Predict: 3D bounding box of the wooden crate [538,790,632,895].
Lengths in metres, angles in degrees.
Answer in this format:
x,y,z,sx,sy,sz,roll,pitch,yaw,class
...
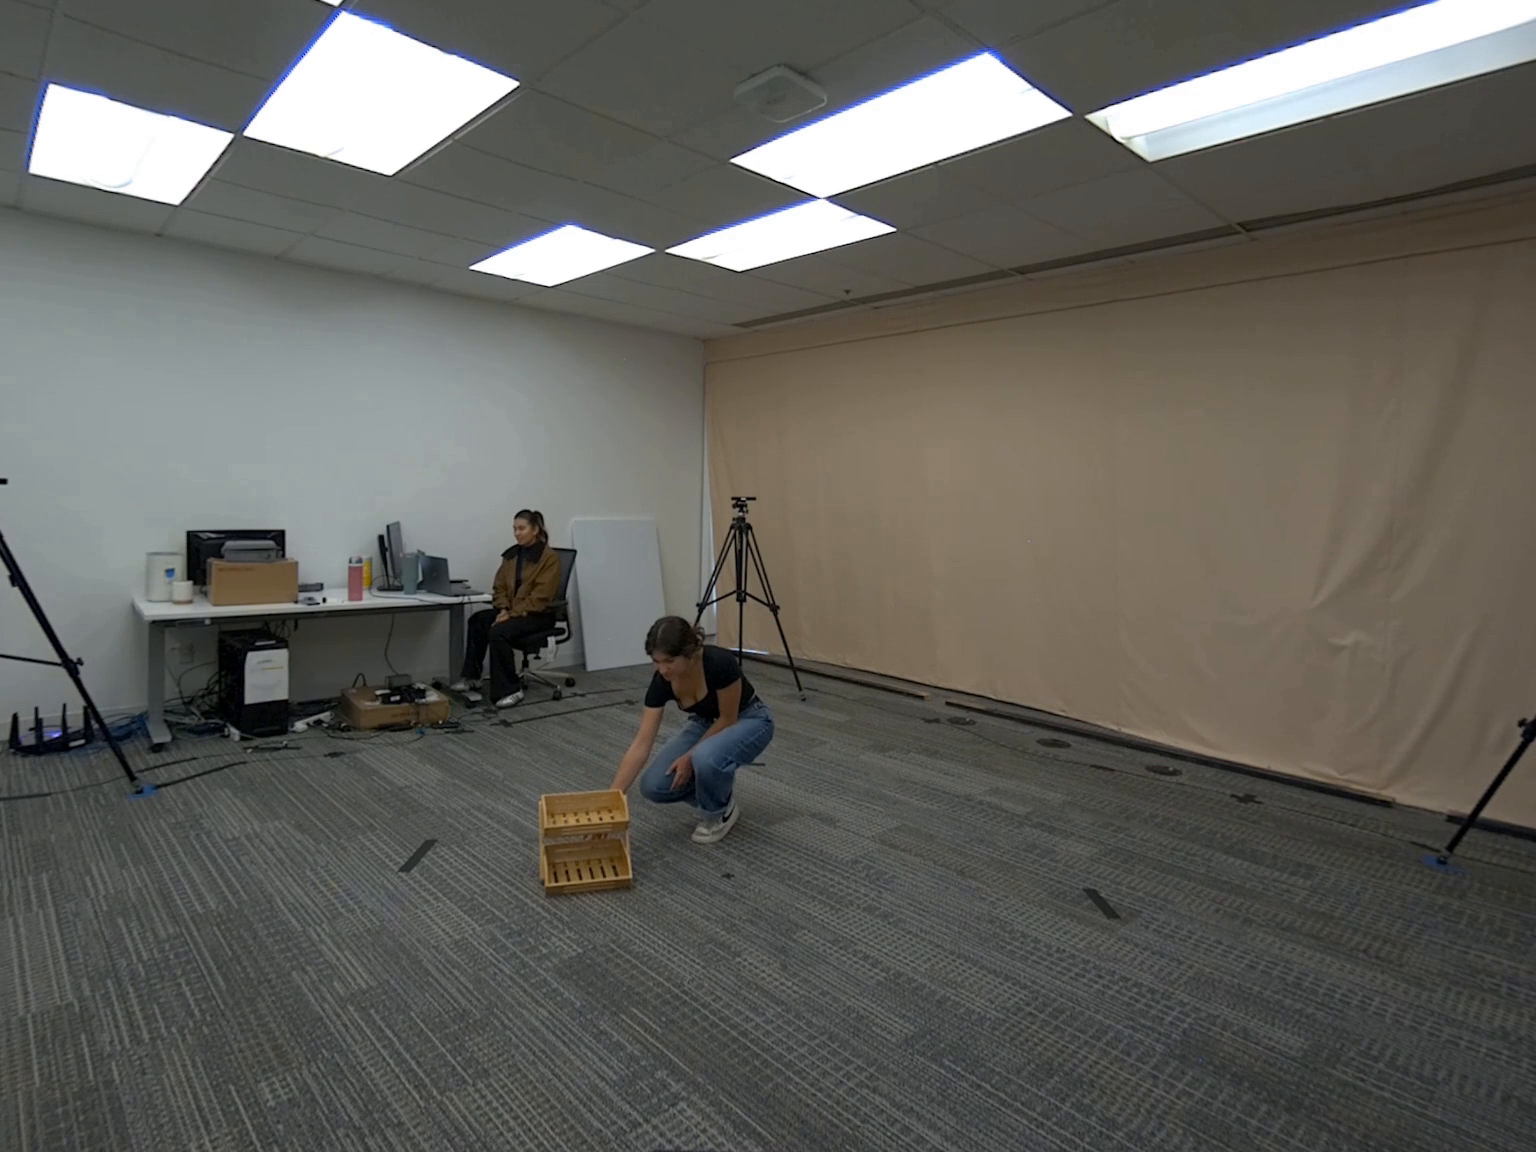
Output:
x,y,z,sx,sy,sz,roll,pitch,yaw,class
-0.675,0.965,3.064,0.320,0.272,0.307,0,5,-18,wooden crate
